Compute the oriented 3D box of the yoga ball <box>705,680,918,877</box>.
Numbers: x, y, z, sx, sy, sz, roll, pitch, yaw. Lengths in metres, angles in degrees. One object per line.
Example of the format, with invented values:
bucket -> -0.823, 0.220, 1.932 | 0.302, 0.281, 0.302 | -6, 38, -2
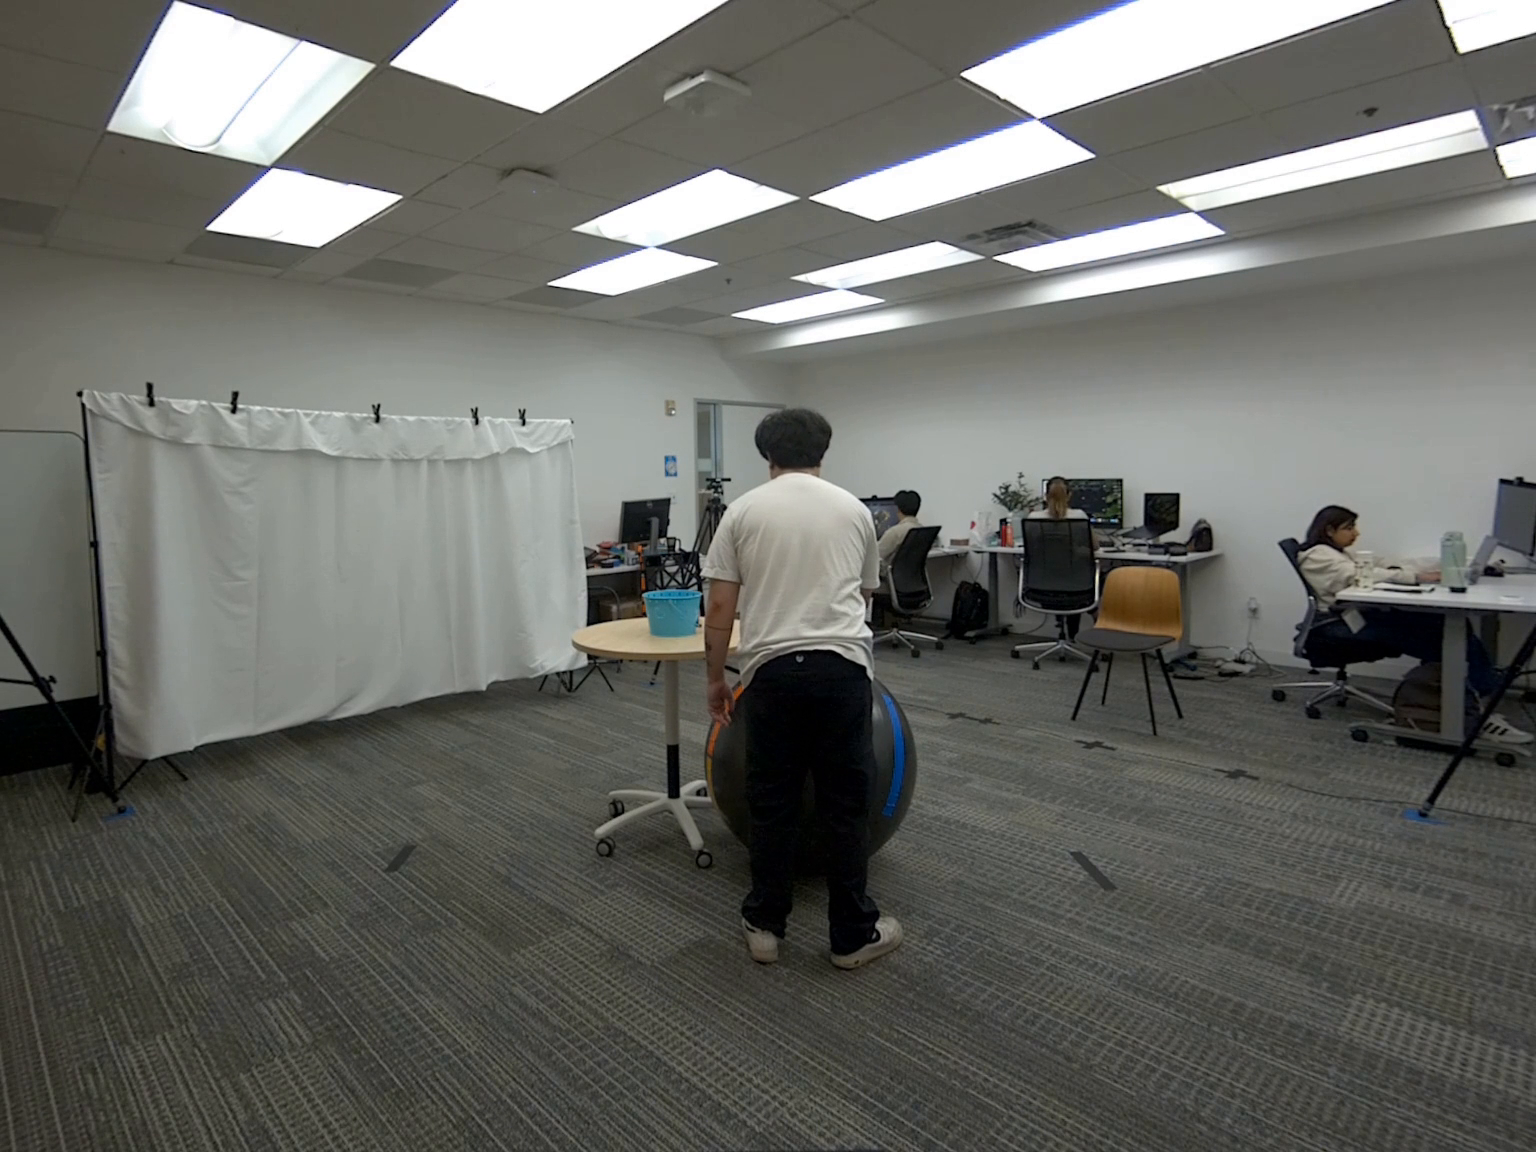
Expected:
yoga ball -> 0.156, 0.667, 3.090 | 0.757, 0.755, 0.762 | -1, 5, -2
